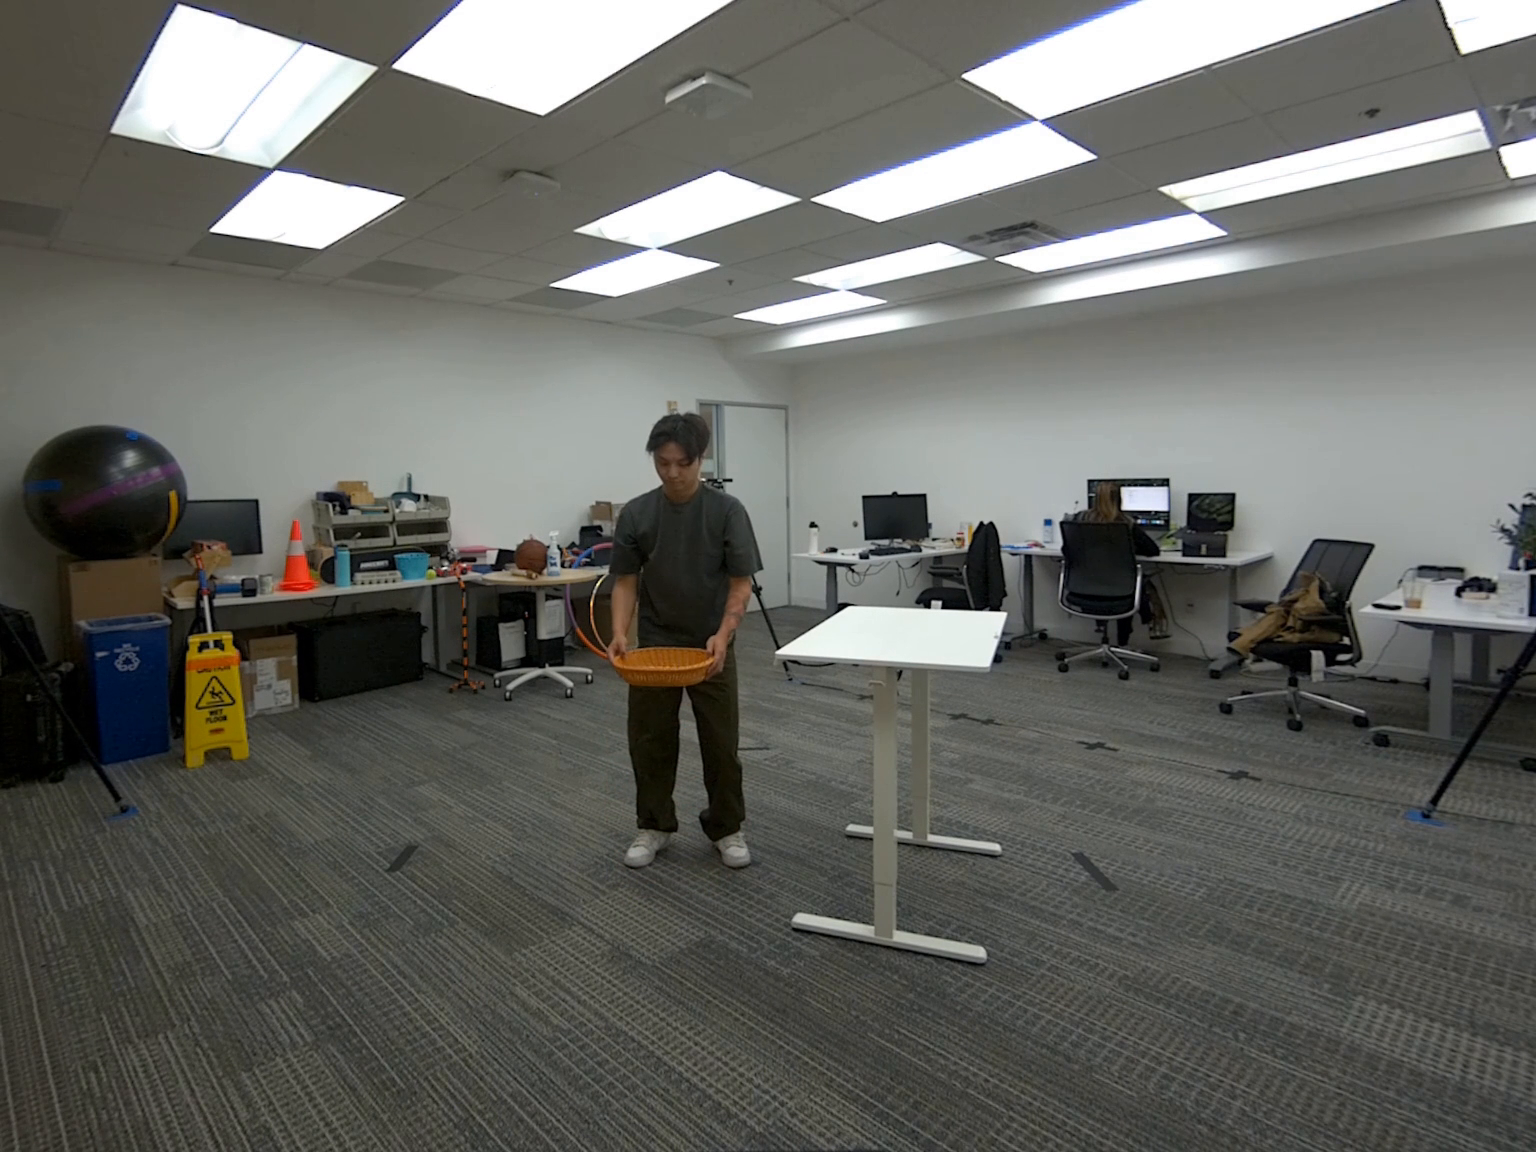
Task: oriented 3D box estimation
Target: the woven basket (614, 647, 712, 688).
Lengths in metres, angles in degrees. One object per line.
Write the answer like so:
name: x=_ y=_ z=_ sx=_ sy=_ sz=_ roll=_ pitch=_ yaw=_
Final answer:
woven basket: x=-0.343 y=0.312 z=2.856 sx=0.357 sy=0.073 sz=0.250 roll=0 pitch=11 yaw=19
